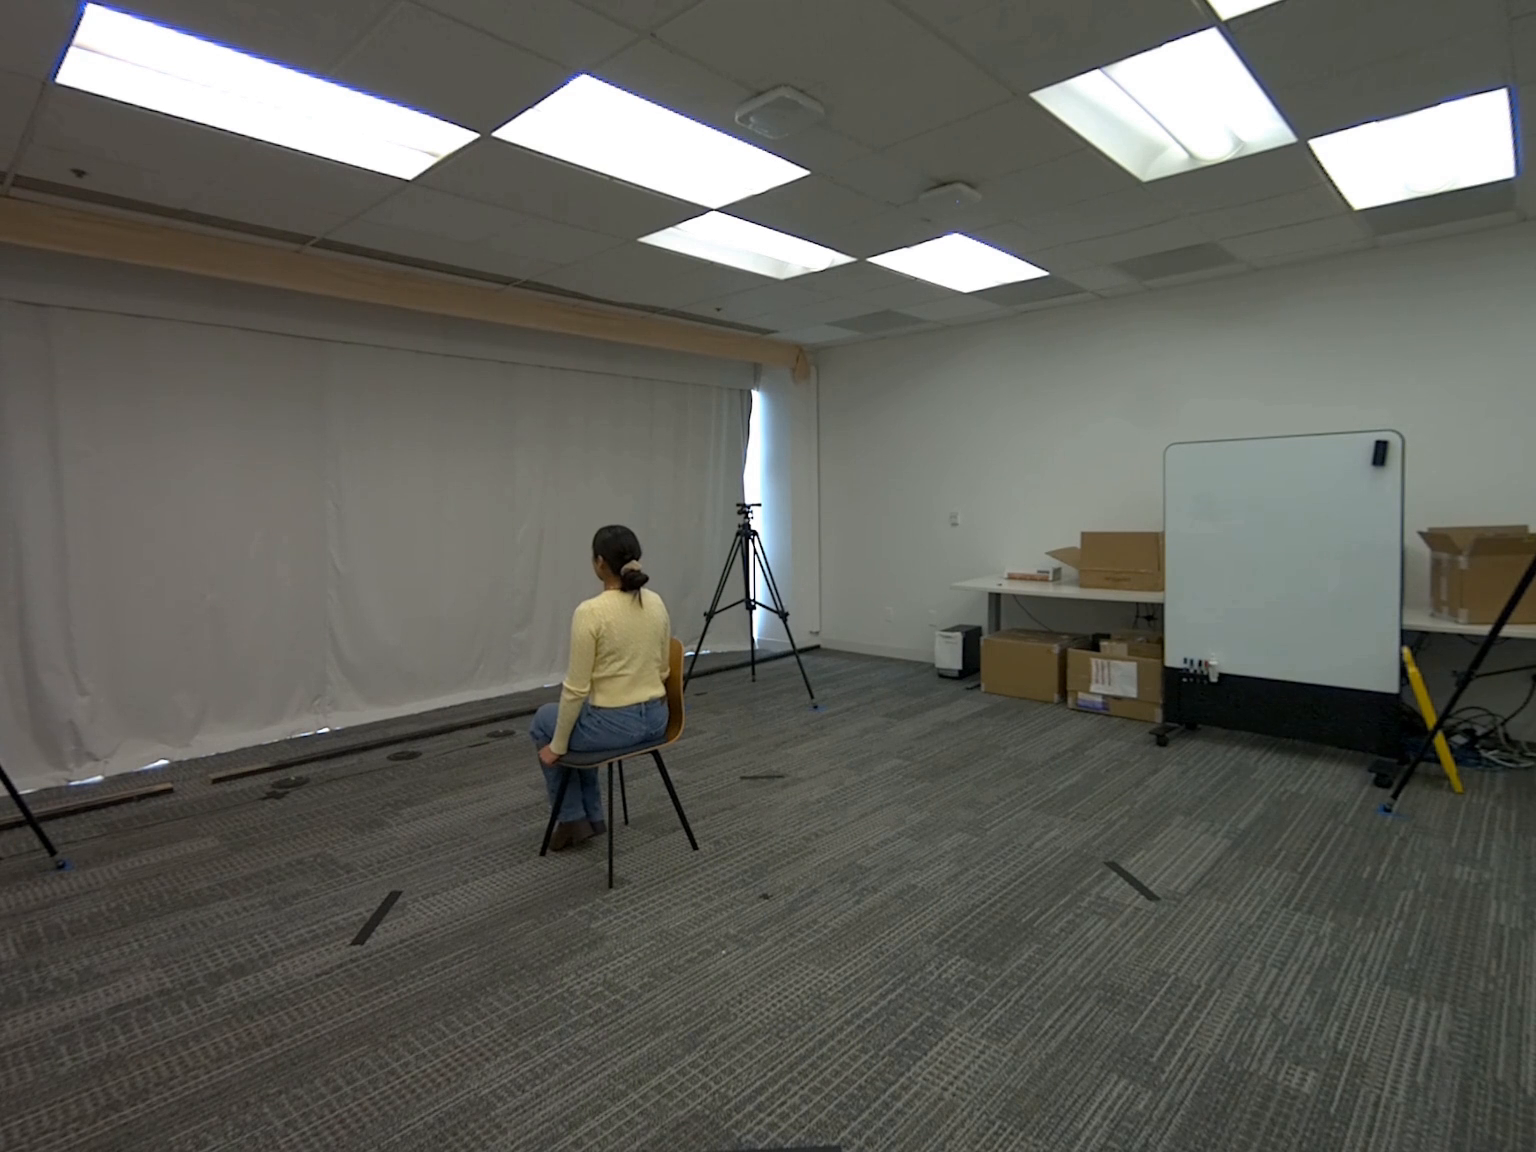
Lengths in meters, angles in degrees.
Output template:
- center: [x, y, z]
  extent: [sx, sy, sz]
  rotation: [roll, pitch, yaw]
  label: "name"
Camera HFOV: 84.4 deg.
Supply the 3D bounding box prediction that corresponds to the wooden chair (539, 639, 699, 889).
- center: [-0.604, 0.693, 3.352]
  extent: [0.494, 0.877, 0.506]
  rotation: [1, 0, 42]
  label: "wooden chair"
